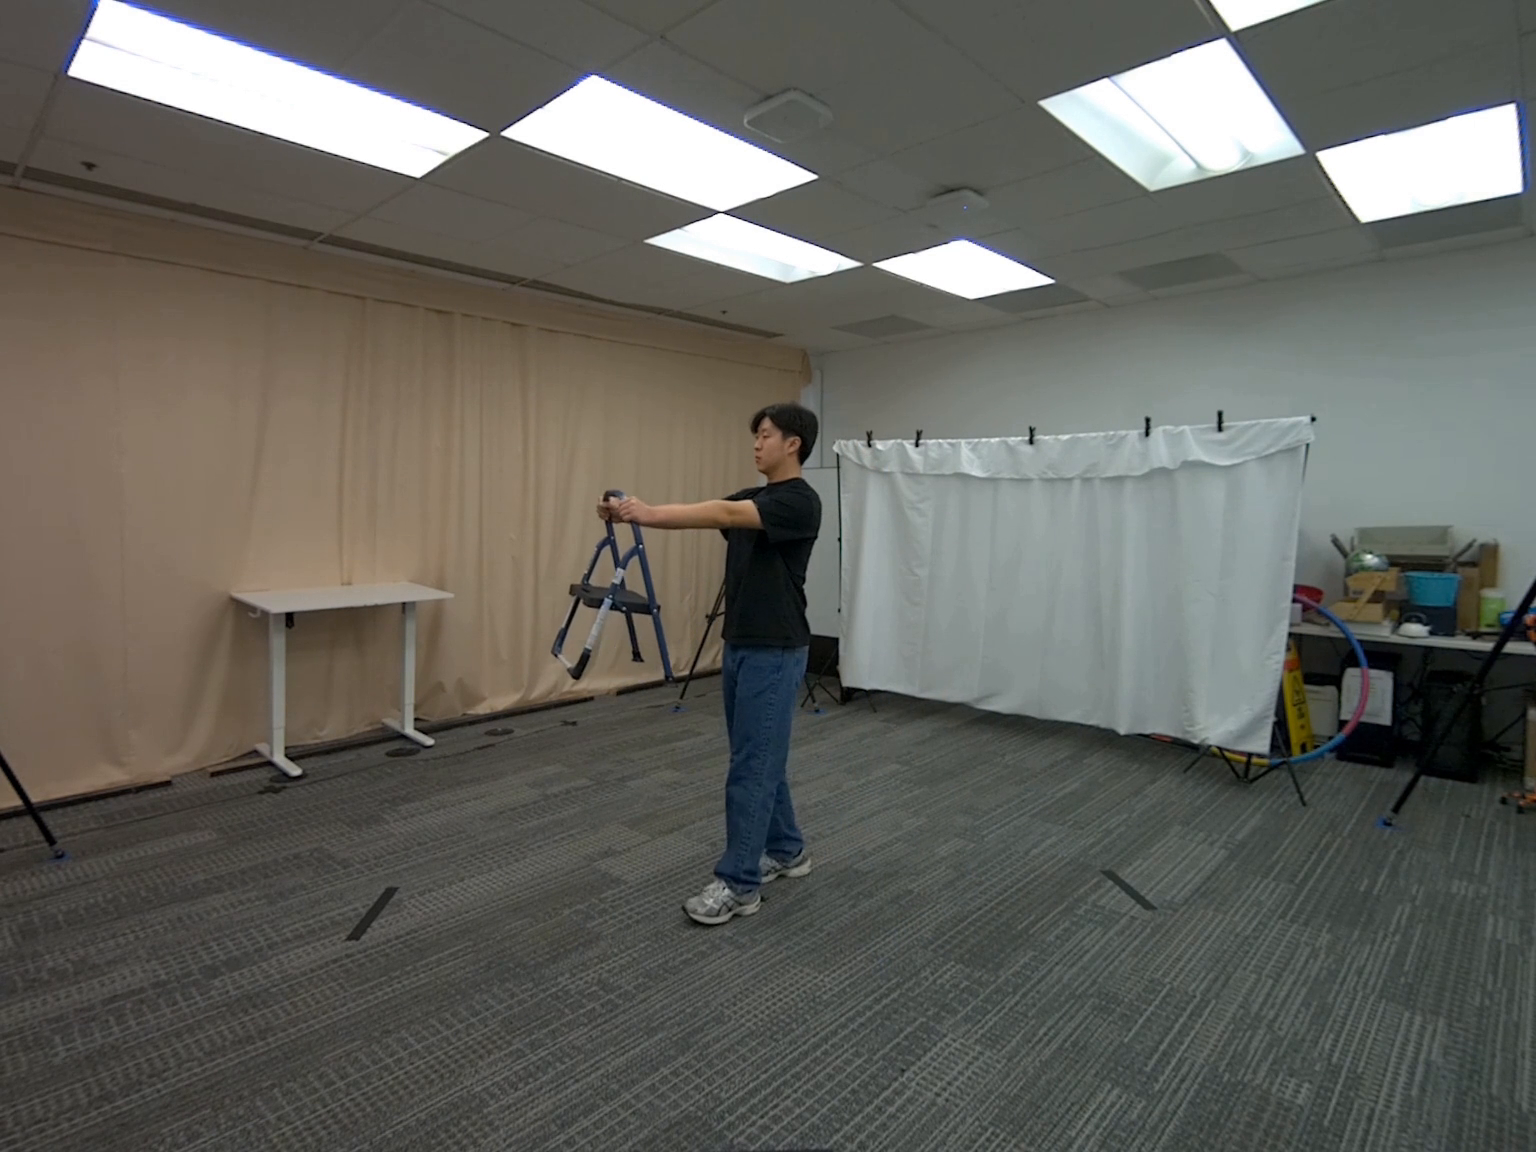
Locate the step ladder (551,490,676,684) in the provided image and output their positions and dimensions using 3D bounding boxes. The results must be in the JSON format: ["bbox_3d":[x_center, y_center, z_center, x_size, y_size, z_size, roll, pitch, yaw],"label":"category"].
[{"bbox_3d":[-0.488,0.025,2.856,0.341,0.605,0.442,7,2,-24],"label":"step ladder"}]
